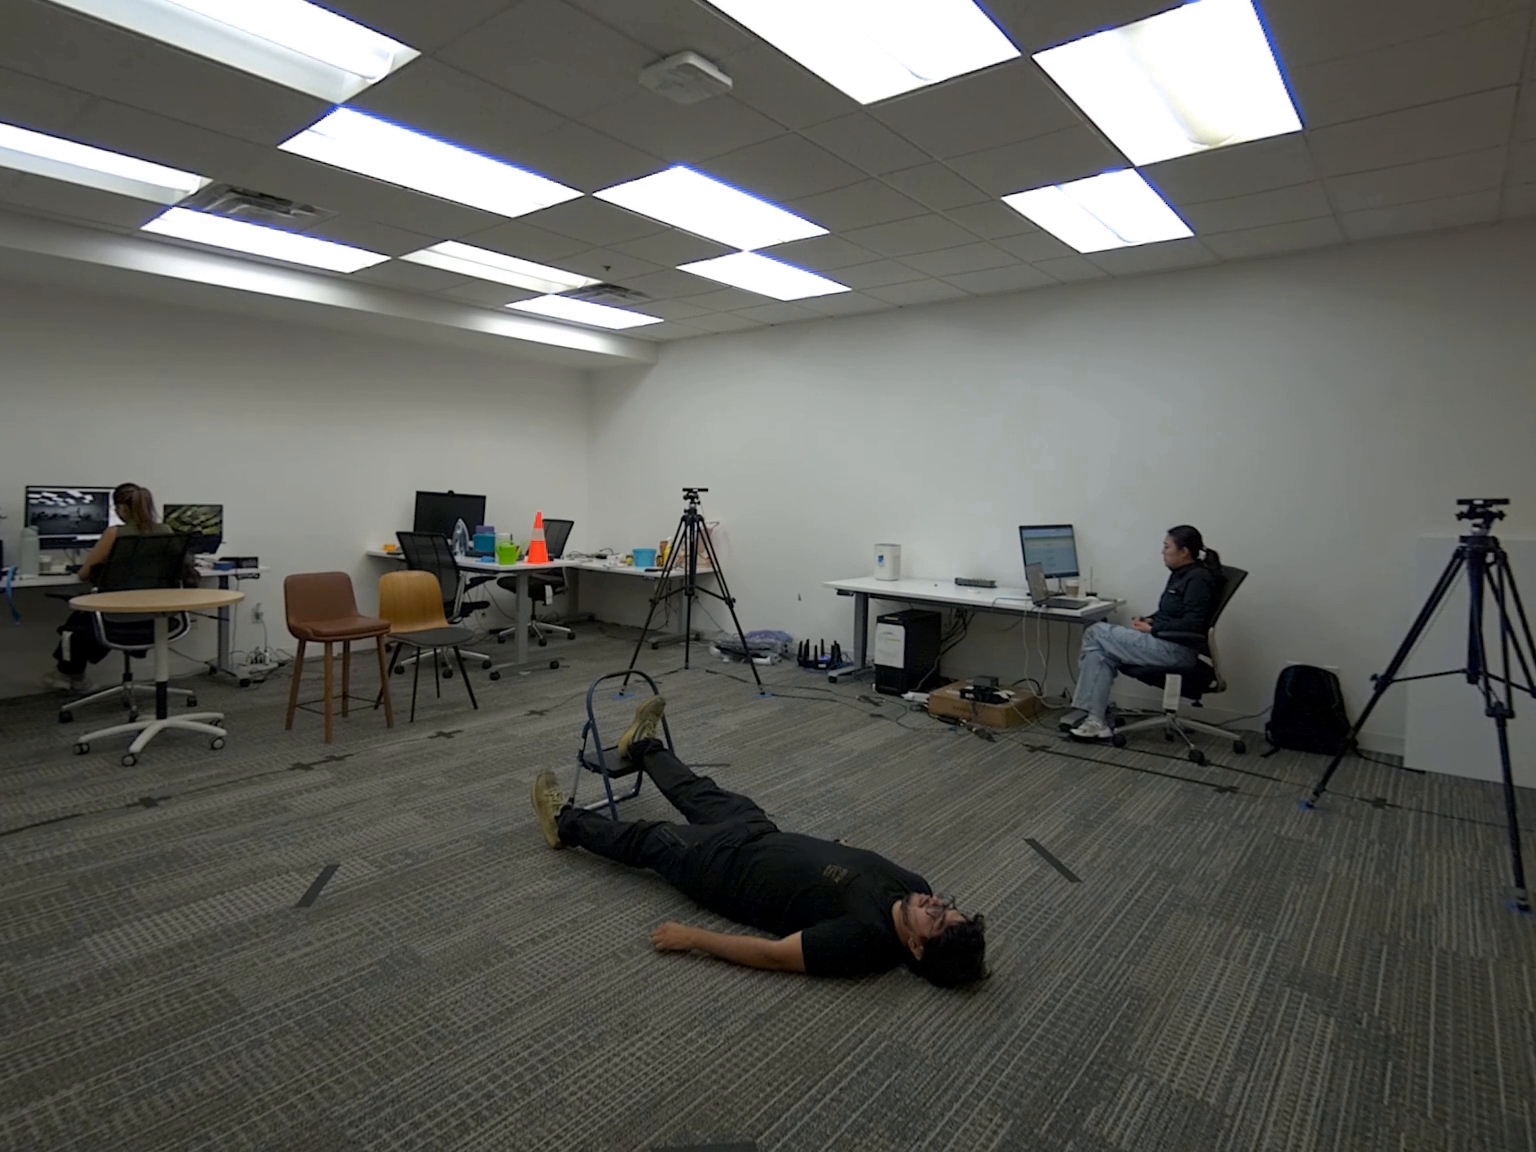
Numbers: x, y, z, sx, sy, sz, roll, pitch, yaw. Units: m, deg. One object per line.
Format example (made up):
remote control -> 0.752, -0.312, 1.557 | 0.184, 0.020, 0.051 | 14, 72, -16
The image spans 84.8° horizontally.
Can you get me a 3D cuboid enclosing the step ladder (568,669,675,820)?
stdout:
step ladder -> -0.598, 0.713, 3.601 | 0.361, 0.605, 0.418 | 3, 3, 38
